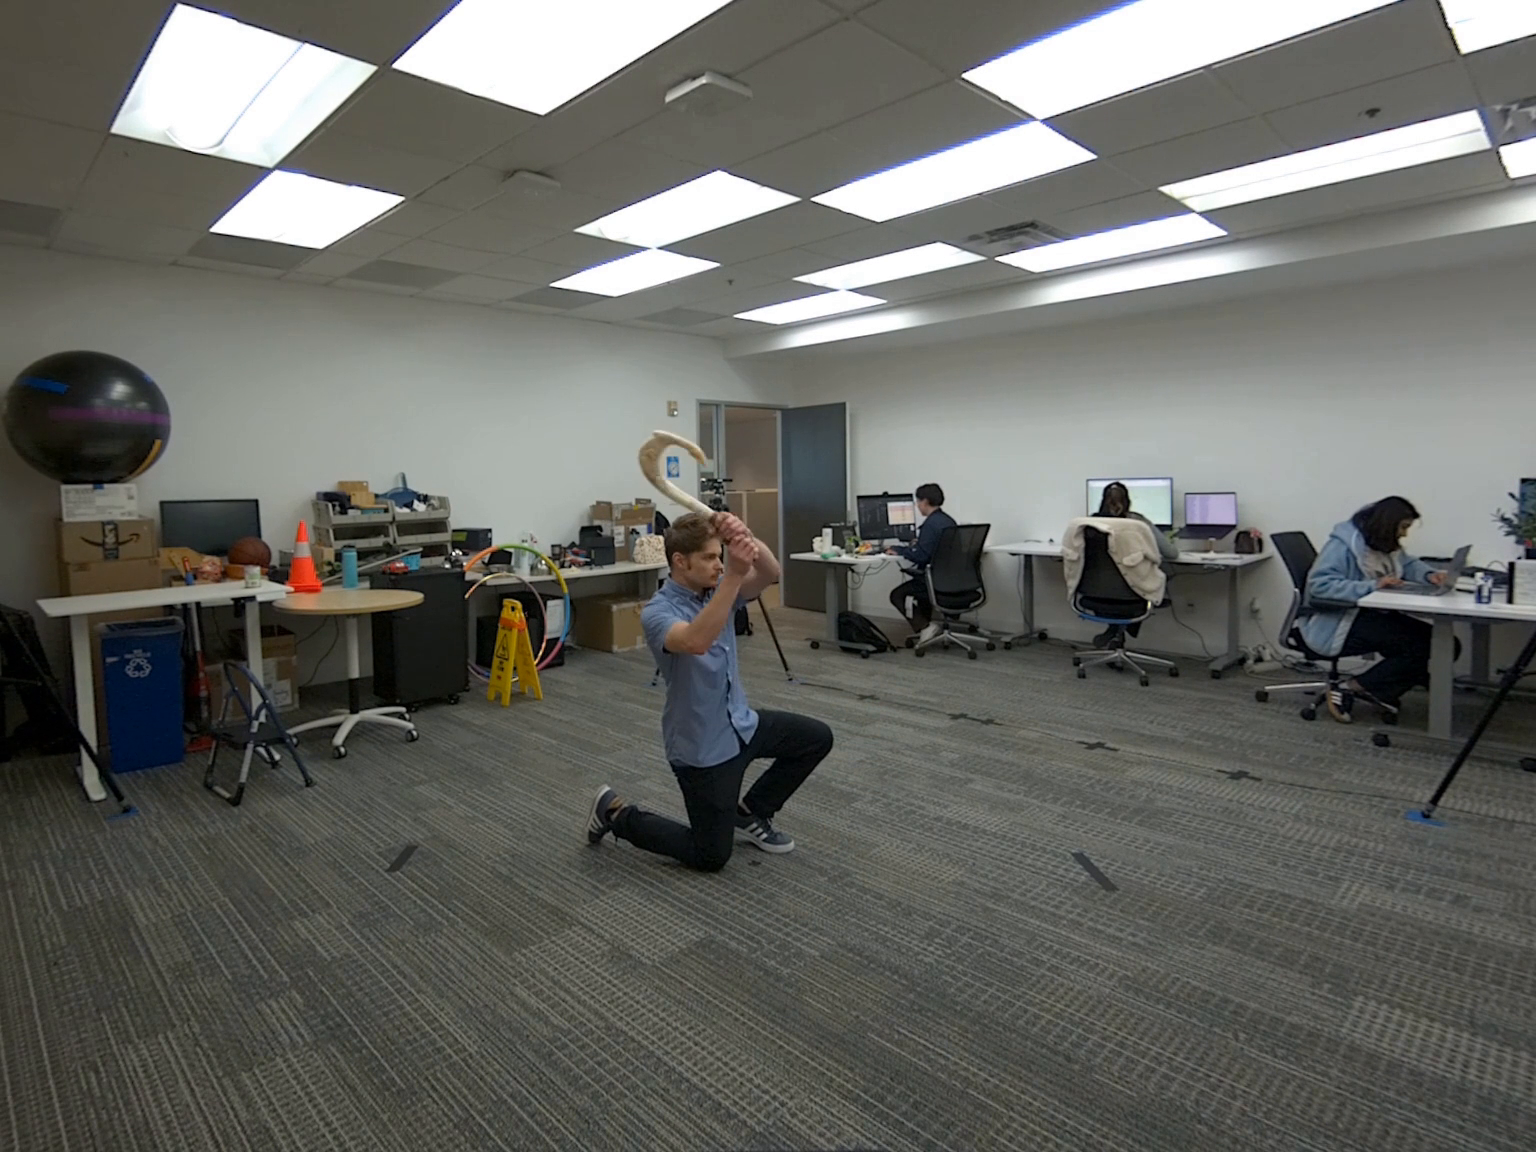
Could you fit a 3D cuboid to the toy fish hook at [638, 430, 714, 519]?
[{"bbox_3d":[-0.181,-0.220,2.654,0.225,0.504,0.048,-42,5,42],"label":"toy fish hook"}]
